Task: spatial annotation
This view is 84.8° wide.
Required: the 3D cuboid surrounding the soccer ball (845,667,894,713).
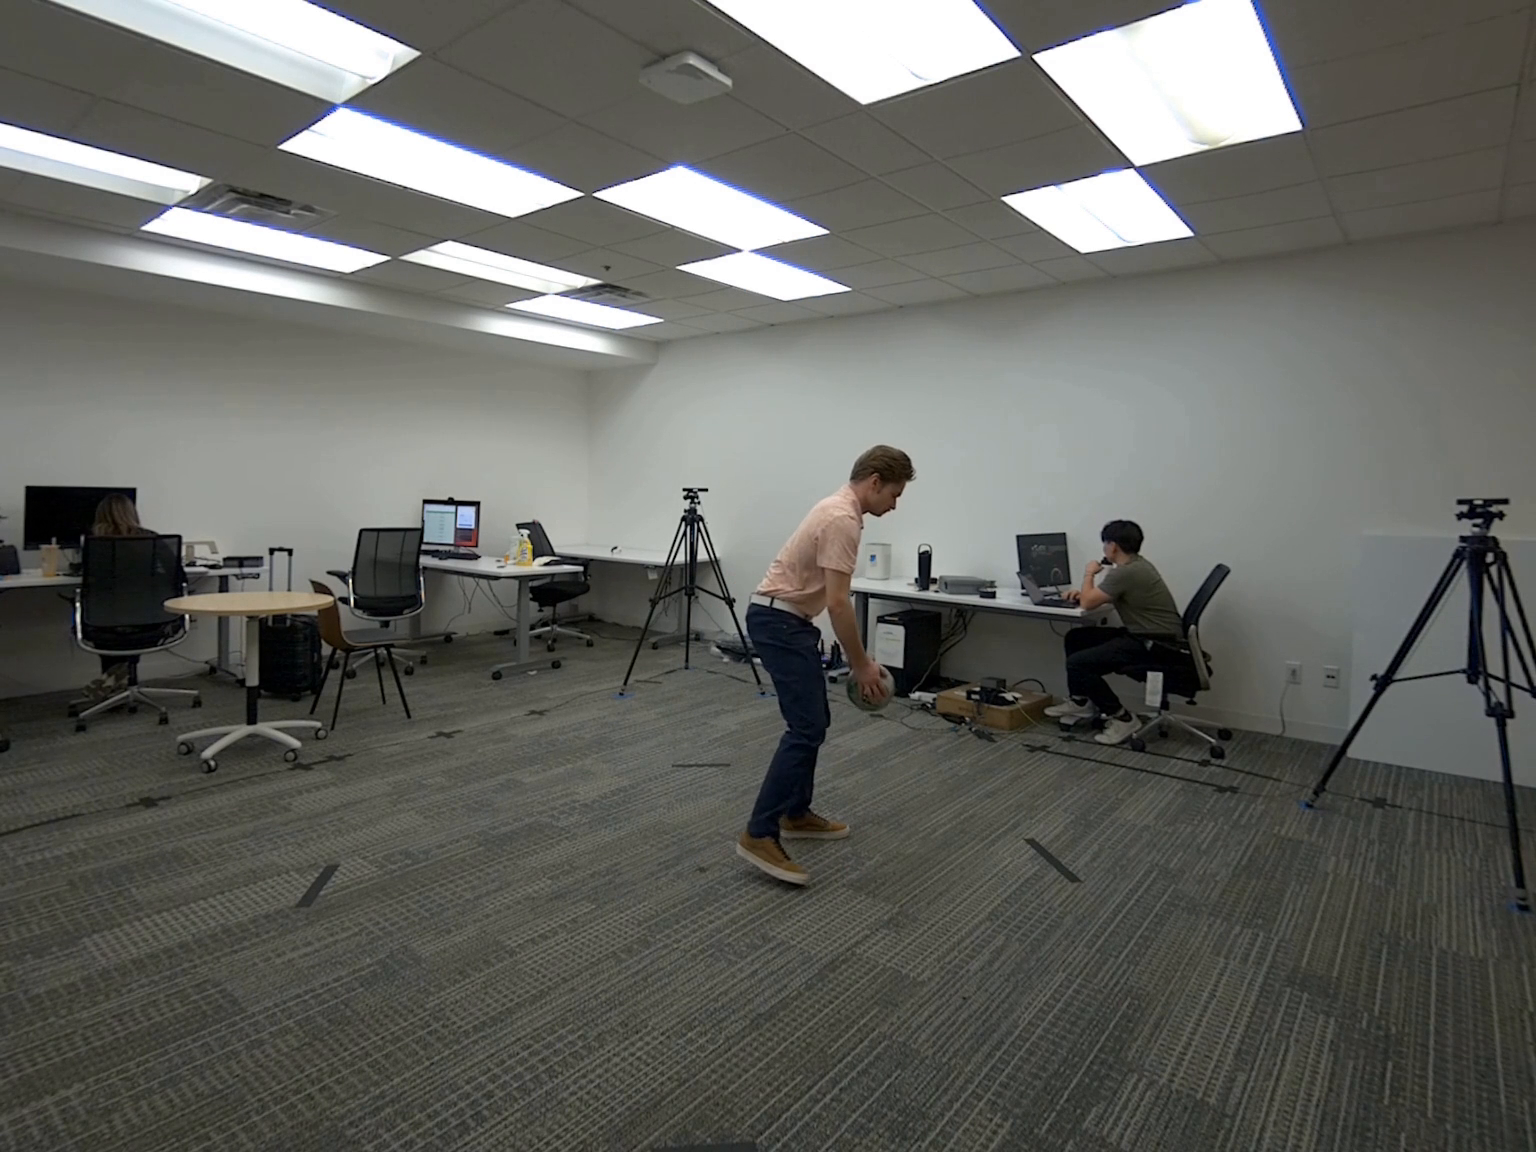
[{"bbox_3d":[0.392,0.426,3.271,0.187,0.187,0.188,1,4,-2],"label":"soccer ball"}]
